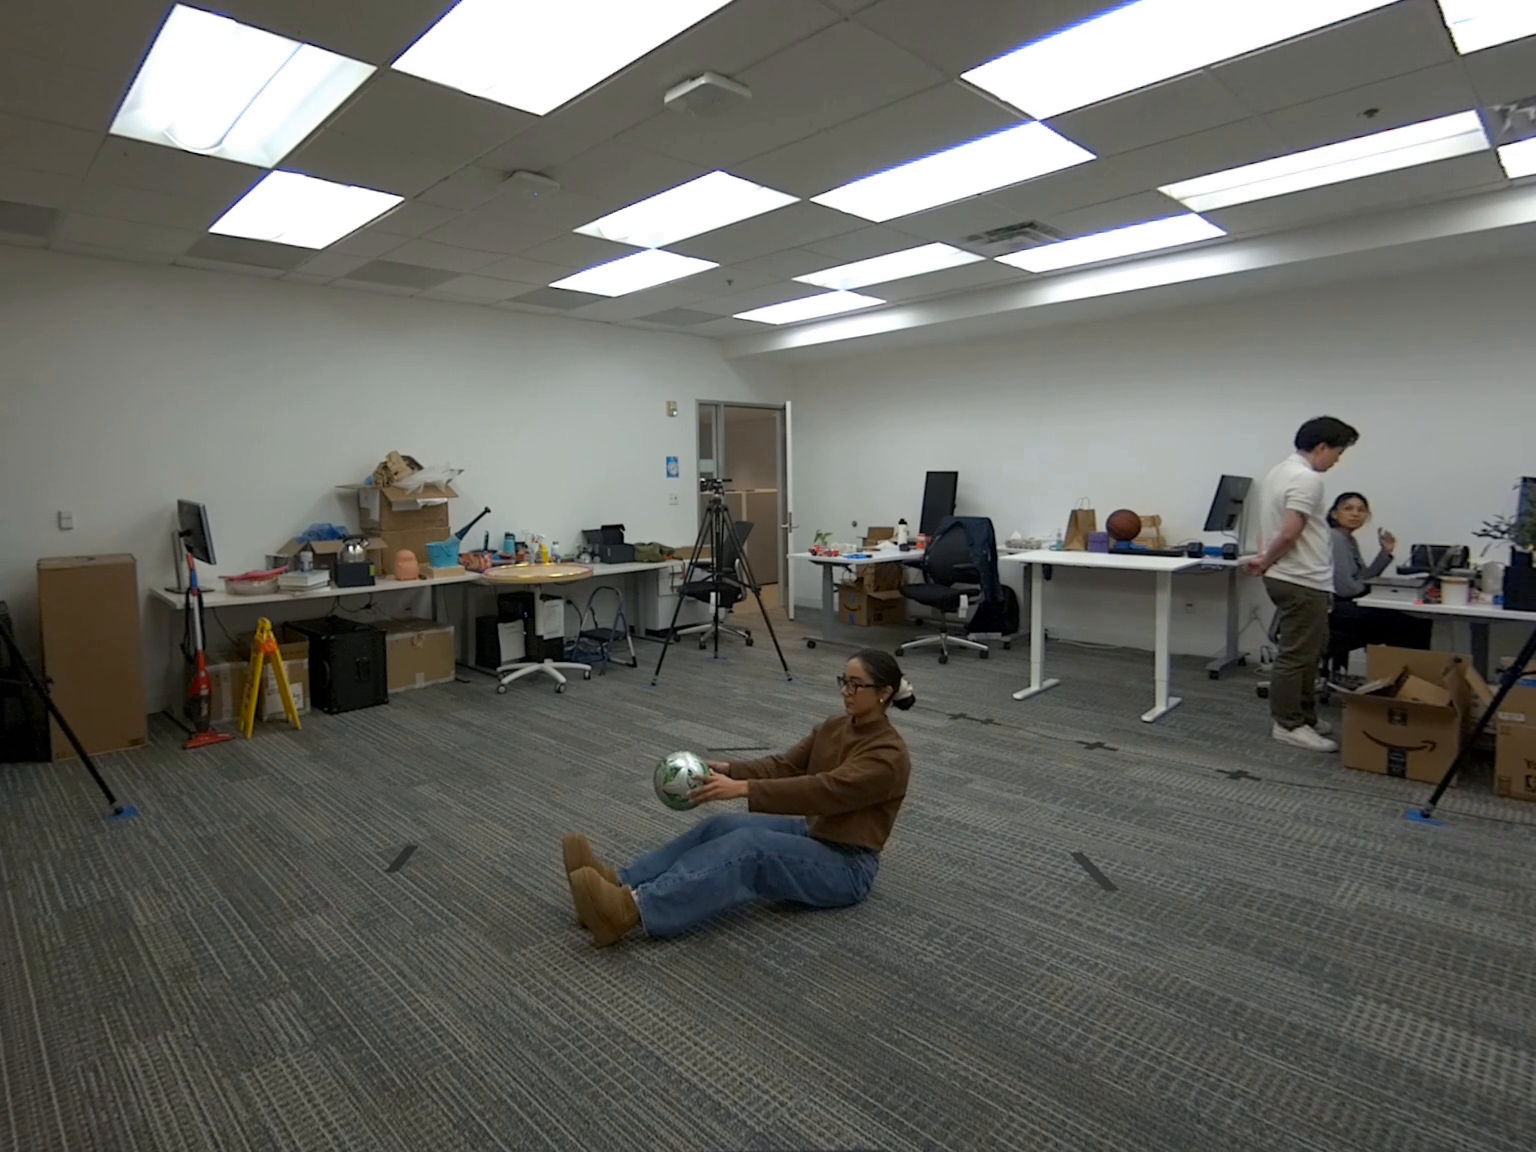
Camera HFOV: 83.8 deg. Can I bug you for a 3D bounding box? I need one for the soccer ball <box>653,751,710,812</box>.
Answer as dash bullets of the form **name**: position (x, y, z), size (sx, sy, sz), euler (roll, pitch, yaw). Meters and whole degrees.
- **soccer ball**: position (-0.275, 0.660, 2.752), size (0.187, 0.187, 0.188), euler (-1, 5, -2)
